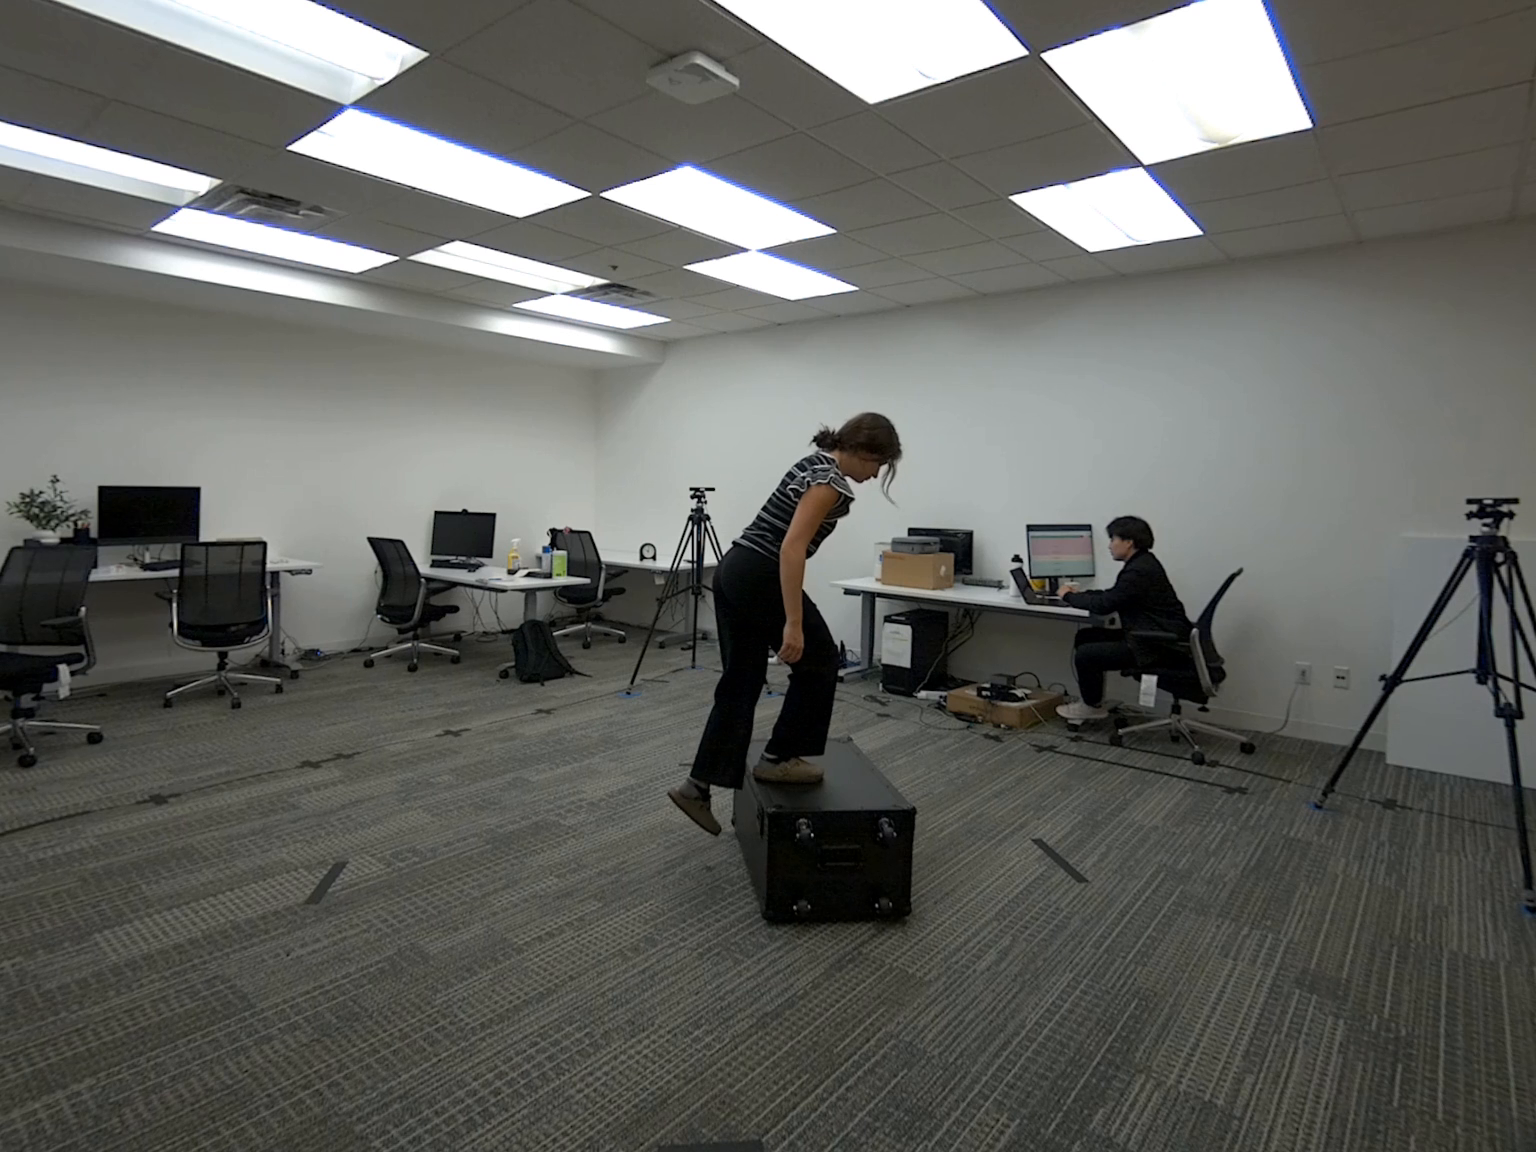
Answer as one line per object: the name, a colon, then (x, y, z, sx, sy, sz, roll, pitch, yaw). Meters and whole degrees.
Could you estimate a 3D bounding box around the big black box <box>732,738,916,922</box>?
big black box: (0.159, 0.885, 3.066, 0.516, 0.395, 0.873, 0, 5, -10)
